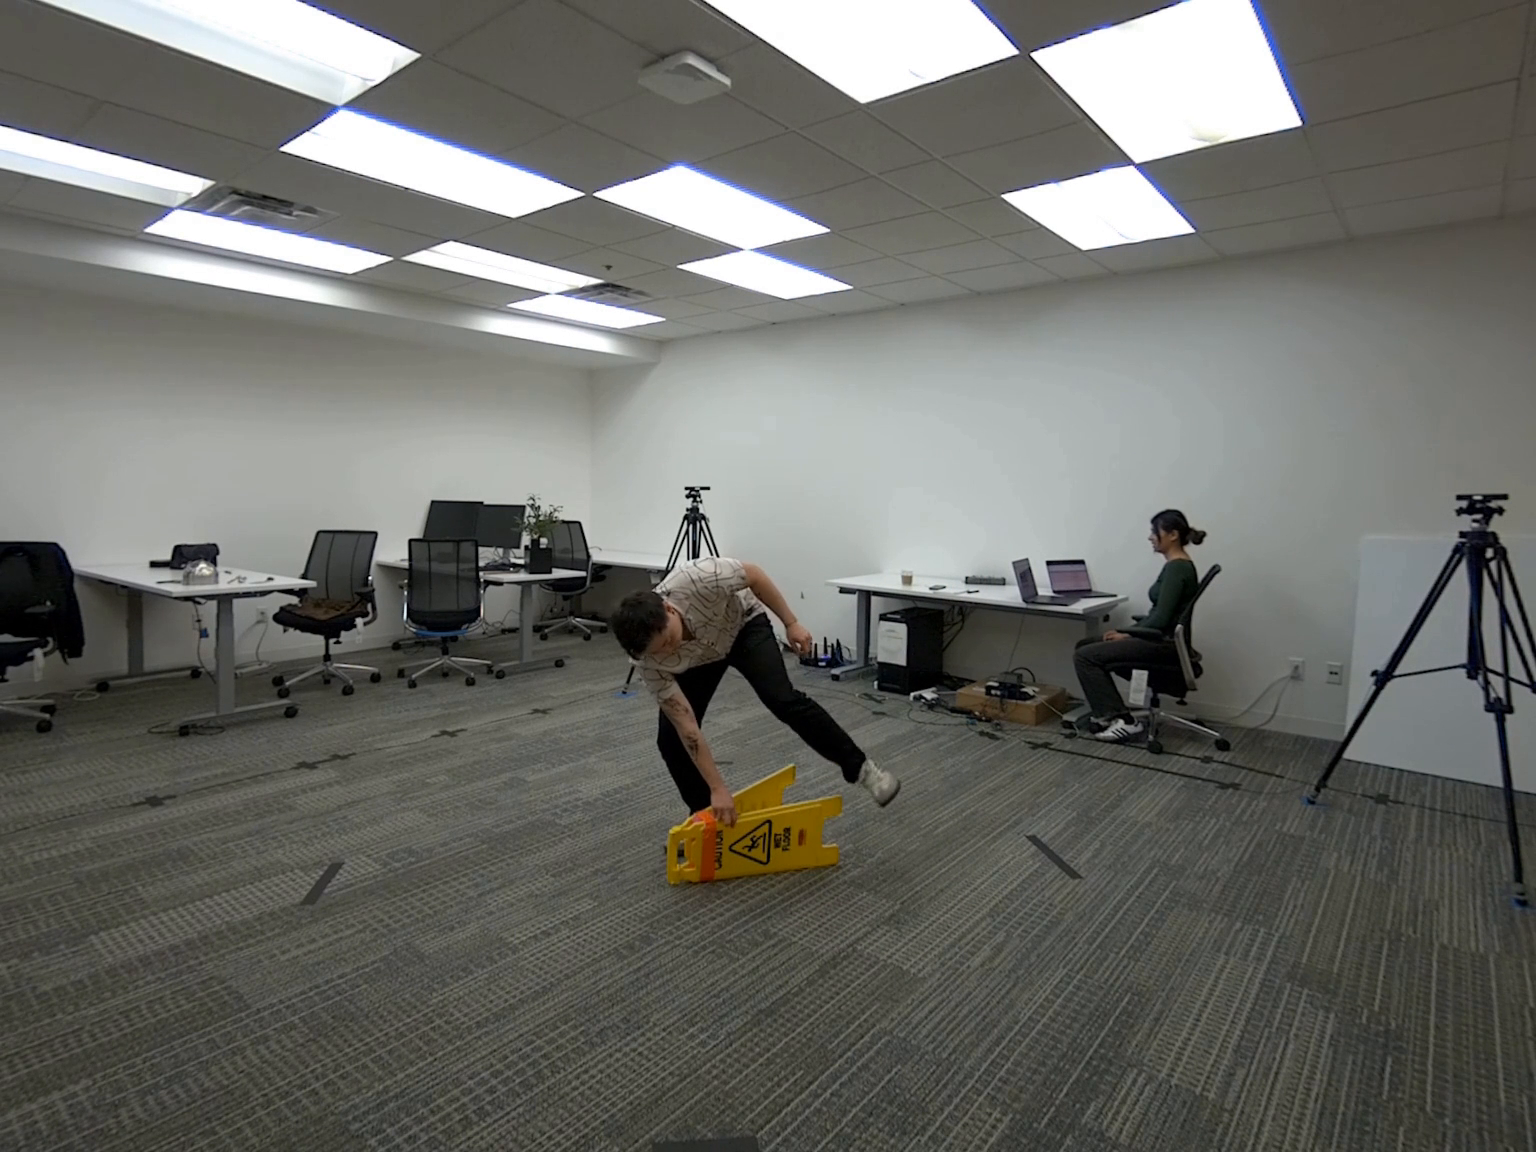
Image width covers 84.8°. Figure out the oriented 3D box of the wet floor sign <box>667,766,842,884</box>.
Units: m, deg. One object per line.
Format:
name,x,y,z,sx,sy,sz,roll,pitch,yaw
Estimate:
wet floor sign,-0.089,0.936,3.093,0.629,0.279,0.300,-6,14,-33
